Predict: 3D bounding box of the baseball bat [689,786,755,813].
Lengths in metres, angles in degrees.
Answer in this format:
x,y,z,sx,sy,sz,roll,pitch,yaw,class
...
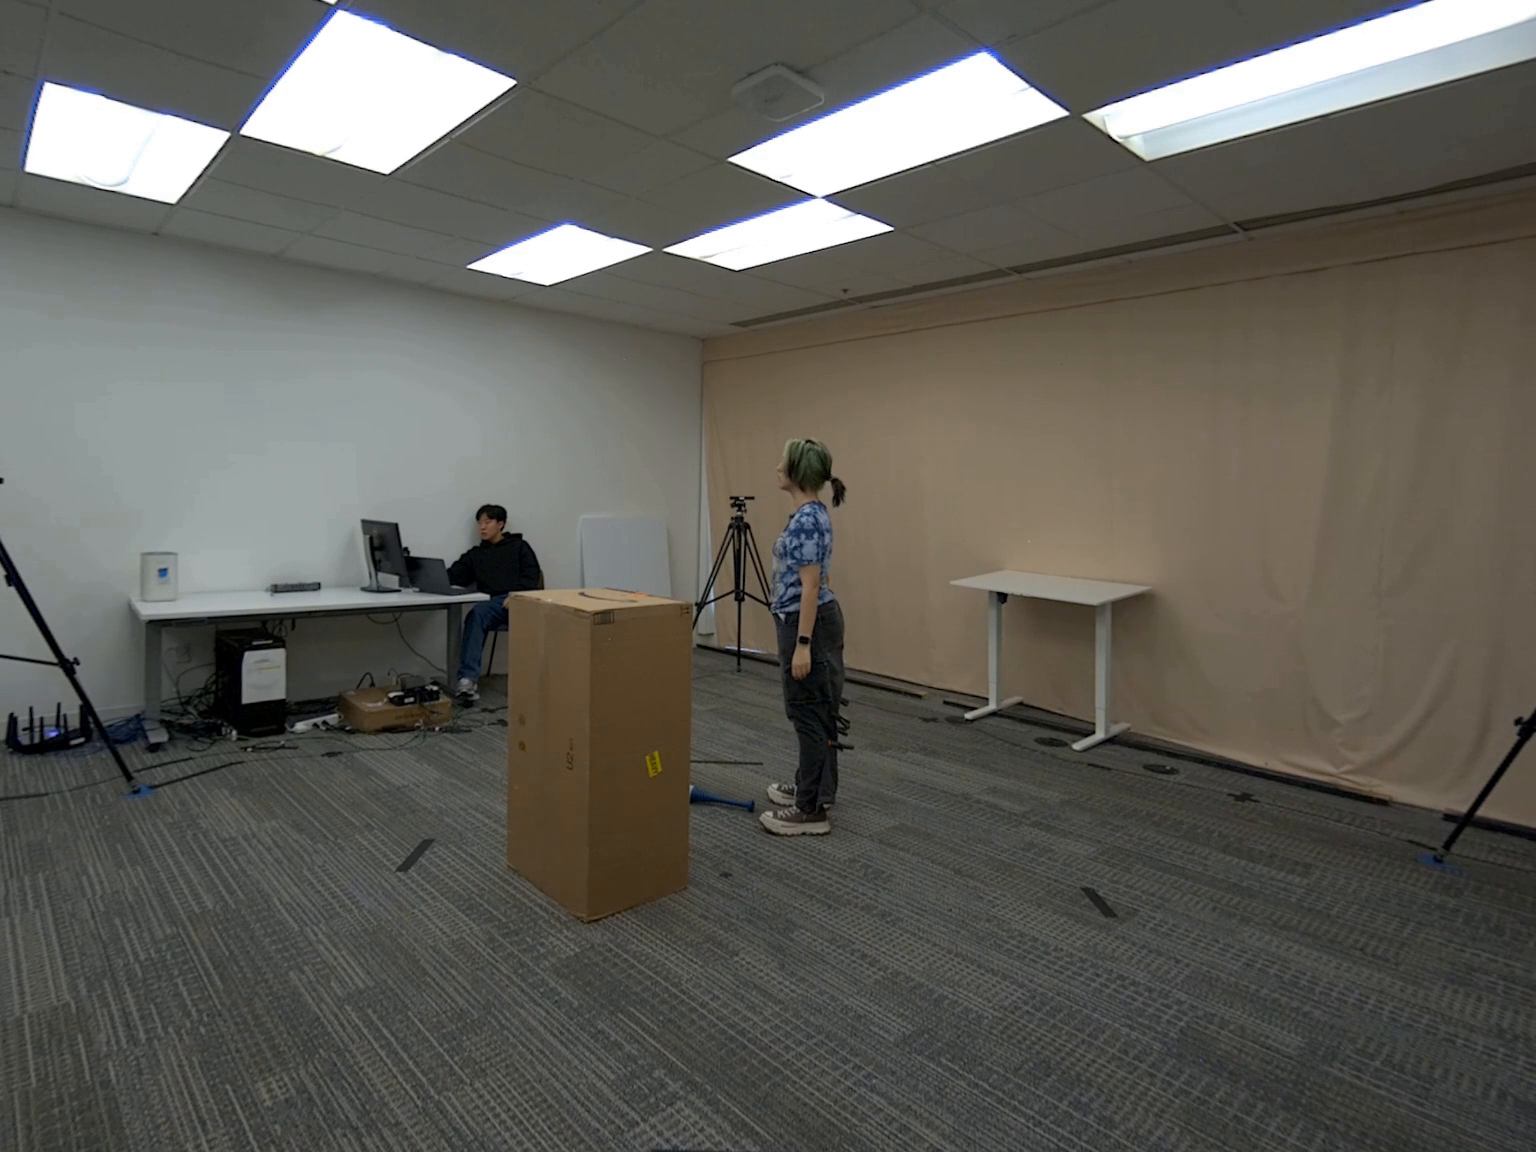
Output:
x,y,z,sx,sy,sz,roll,pitch,yaw,class
-0.339,1.005,3.836,0.552,0.089,0.088,7,6,19,baseball bat
